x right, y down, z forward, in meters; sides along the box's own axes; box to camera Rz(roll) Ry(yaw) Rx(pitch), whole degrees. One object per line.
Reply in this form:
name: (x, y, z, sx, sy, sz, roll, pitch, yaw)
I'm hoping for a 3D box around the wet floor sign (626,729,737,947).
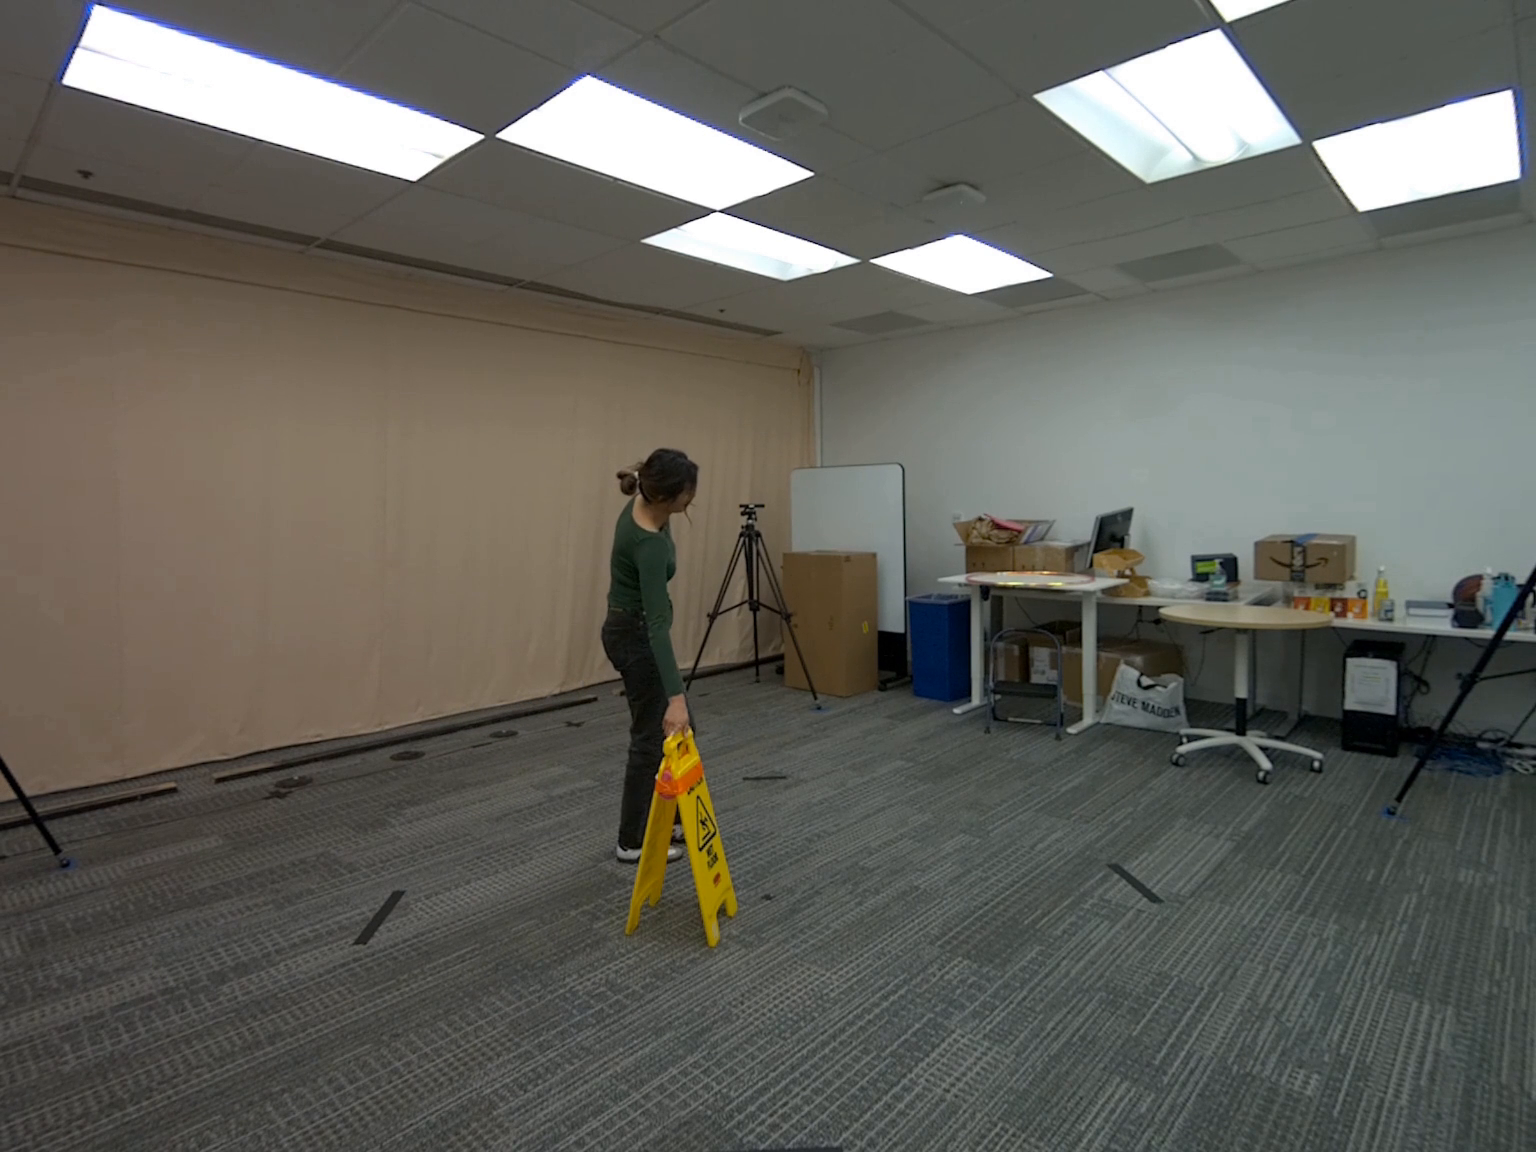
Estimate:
wet floor sign: (-0.285, 0.839, 2.804, 0.295, 0.644, 0.278, 1, 5, 17)
